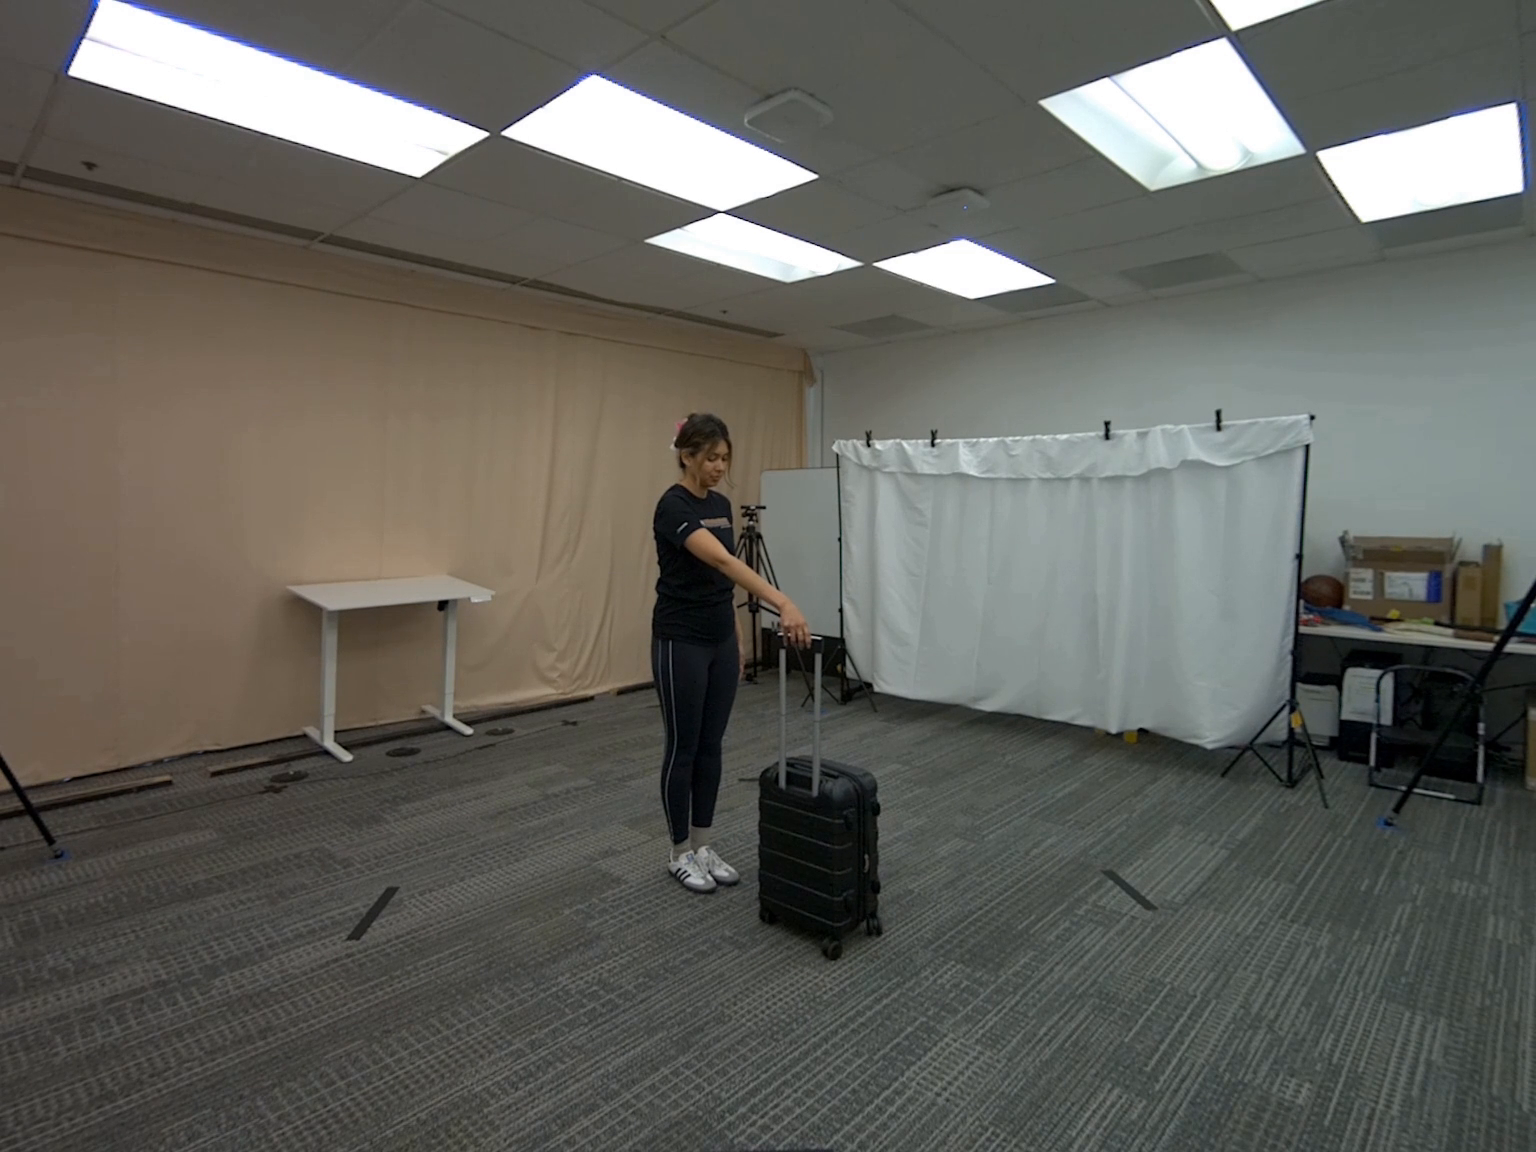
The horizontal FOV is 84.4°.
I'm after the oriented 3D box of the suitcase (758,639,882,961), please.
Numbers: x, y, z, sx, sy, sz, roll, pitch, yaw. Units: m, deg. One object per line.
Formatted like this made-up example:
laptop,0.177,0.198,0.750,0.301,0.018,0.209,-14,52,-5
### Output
suitcase,0.171,0.688,2.757,0.397,0.977,0.249,3,3,42
